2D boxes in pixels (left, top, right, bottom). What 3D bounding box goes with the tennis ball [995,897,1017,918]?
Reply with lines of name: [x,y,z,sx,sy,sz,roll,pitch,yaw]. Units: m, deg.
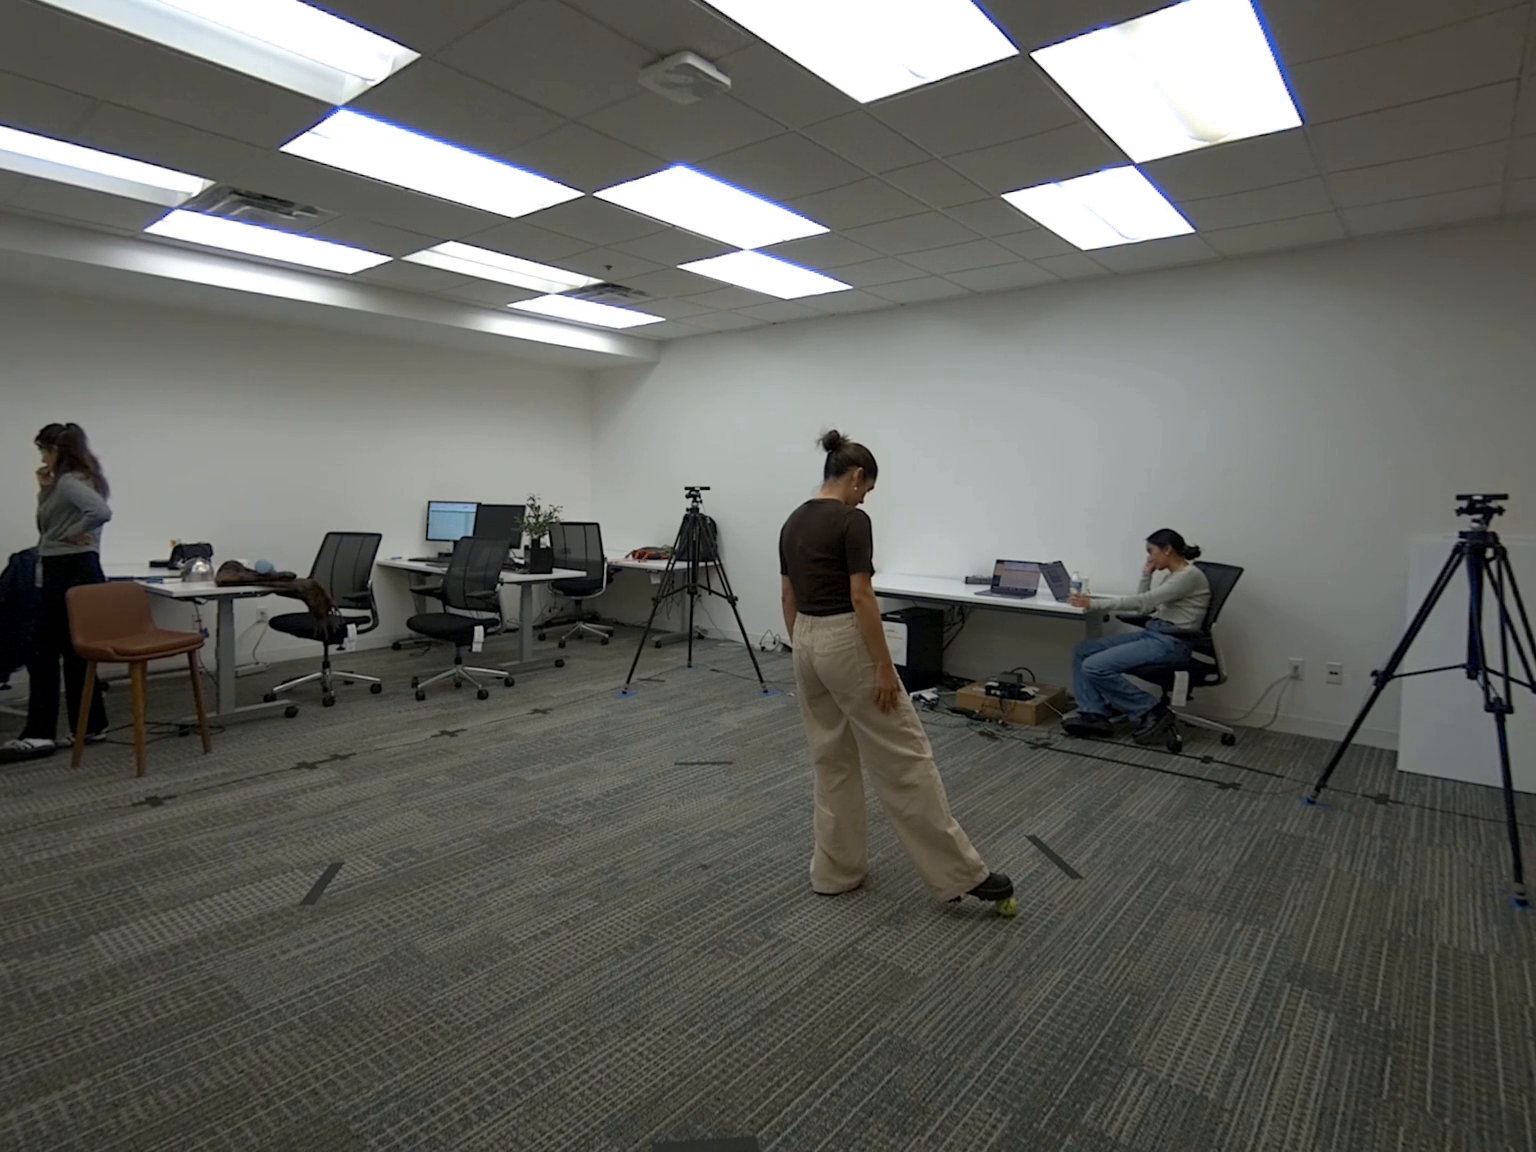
tennis ball: [0.779,1.082,2.812,0.066,0.066,0.067,1,4,-2]
